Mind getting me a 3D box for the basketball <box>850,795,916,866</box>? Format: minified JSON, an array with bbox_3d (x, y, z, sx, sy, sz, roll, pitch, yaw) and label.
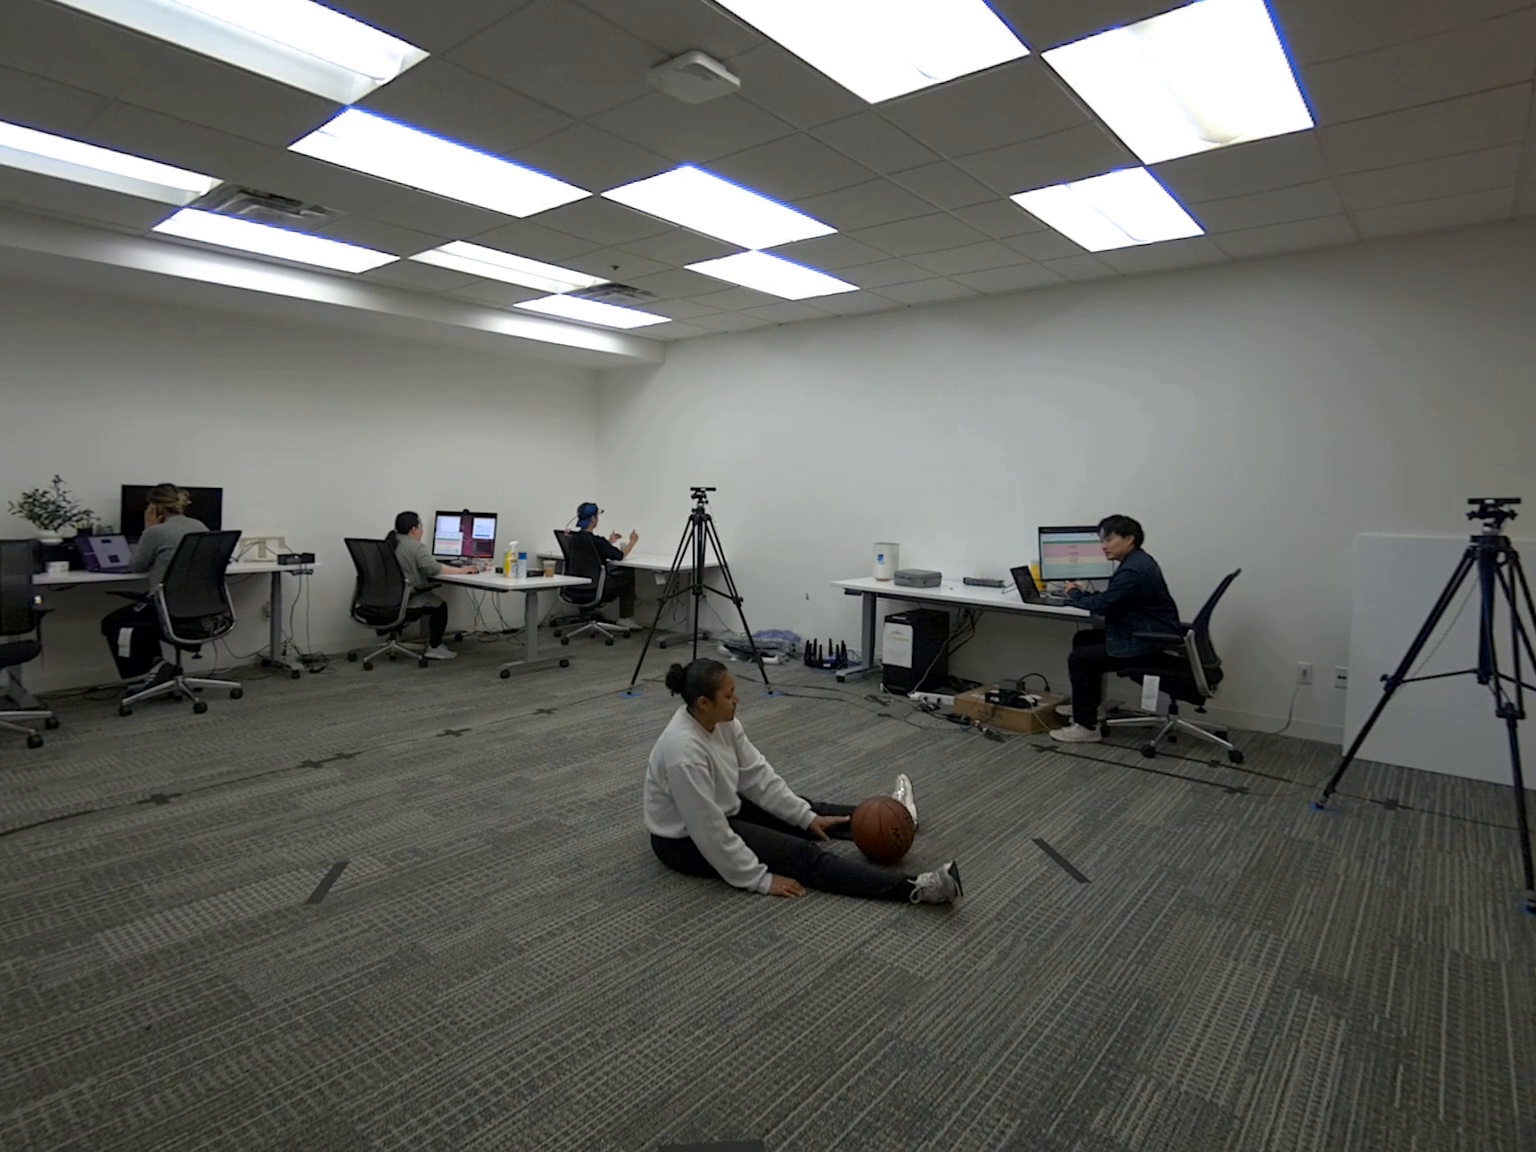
[{"bbox_3d":[0.429,0.950,3.208,0.235,0.235,0.237,1,4,-2],"label":"basketball"}]
